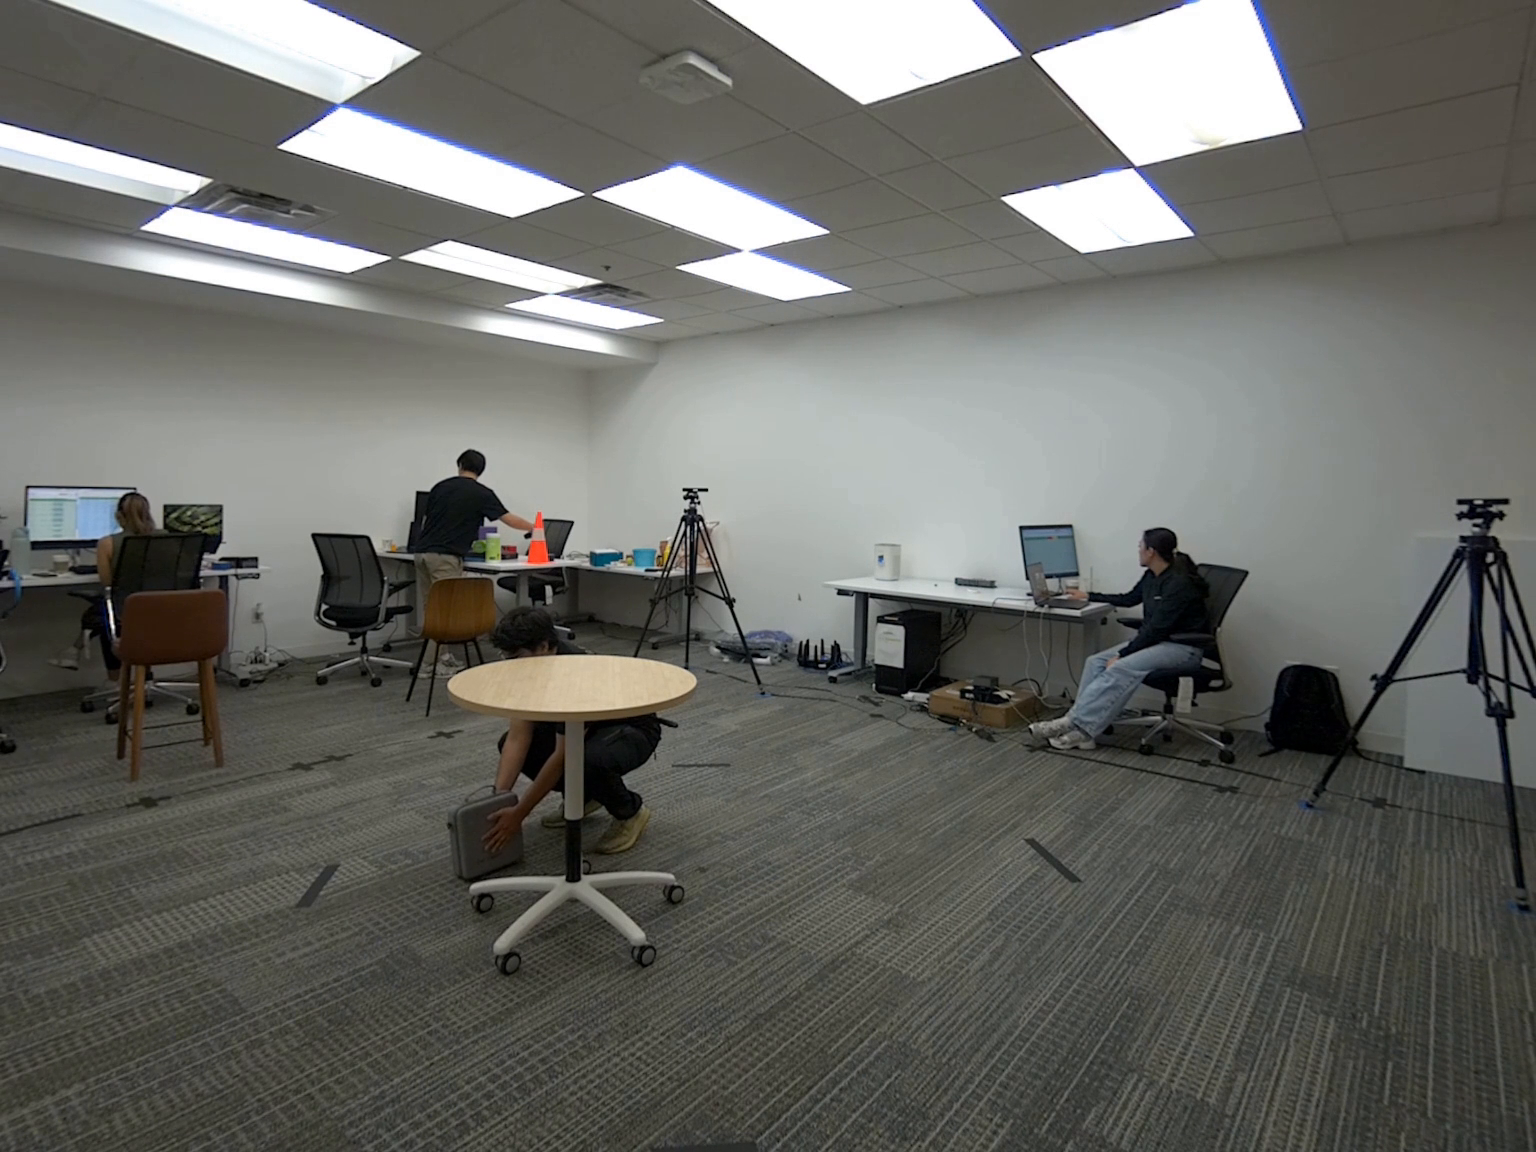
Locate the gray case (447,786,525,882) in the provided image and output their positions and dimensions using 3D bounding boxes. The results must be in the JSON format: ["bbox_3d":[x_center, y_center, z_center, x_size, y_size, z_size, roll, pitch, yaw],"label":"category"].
[{"bbox_3d":[-1.047,0.929,3.090,0.107,0.262,0.249,-11,-4,42],"label":"gray case"}]
